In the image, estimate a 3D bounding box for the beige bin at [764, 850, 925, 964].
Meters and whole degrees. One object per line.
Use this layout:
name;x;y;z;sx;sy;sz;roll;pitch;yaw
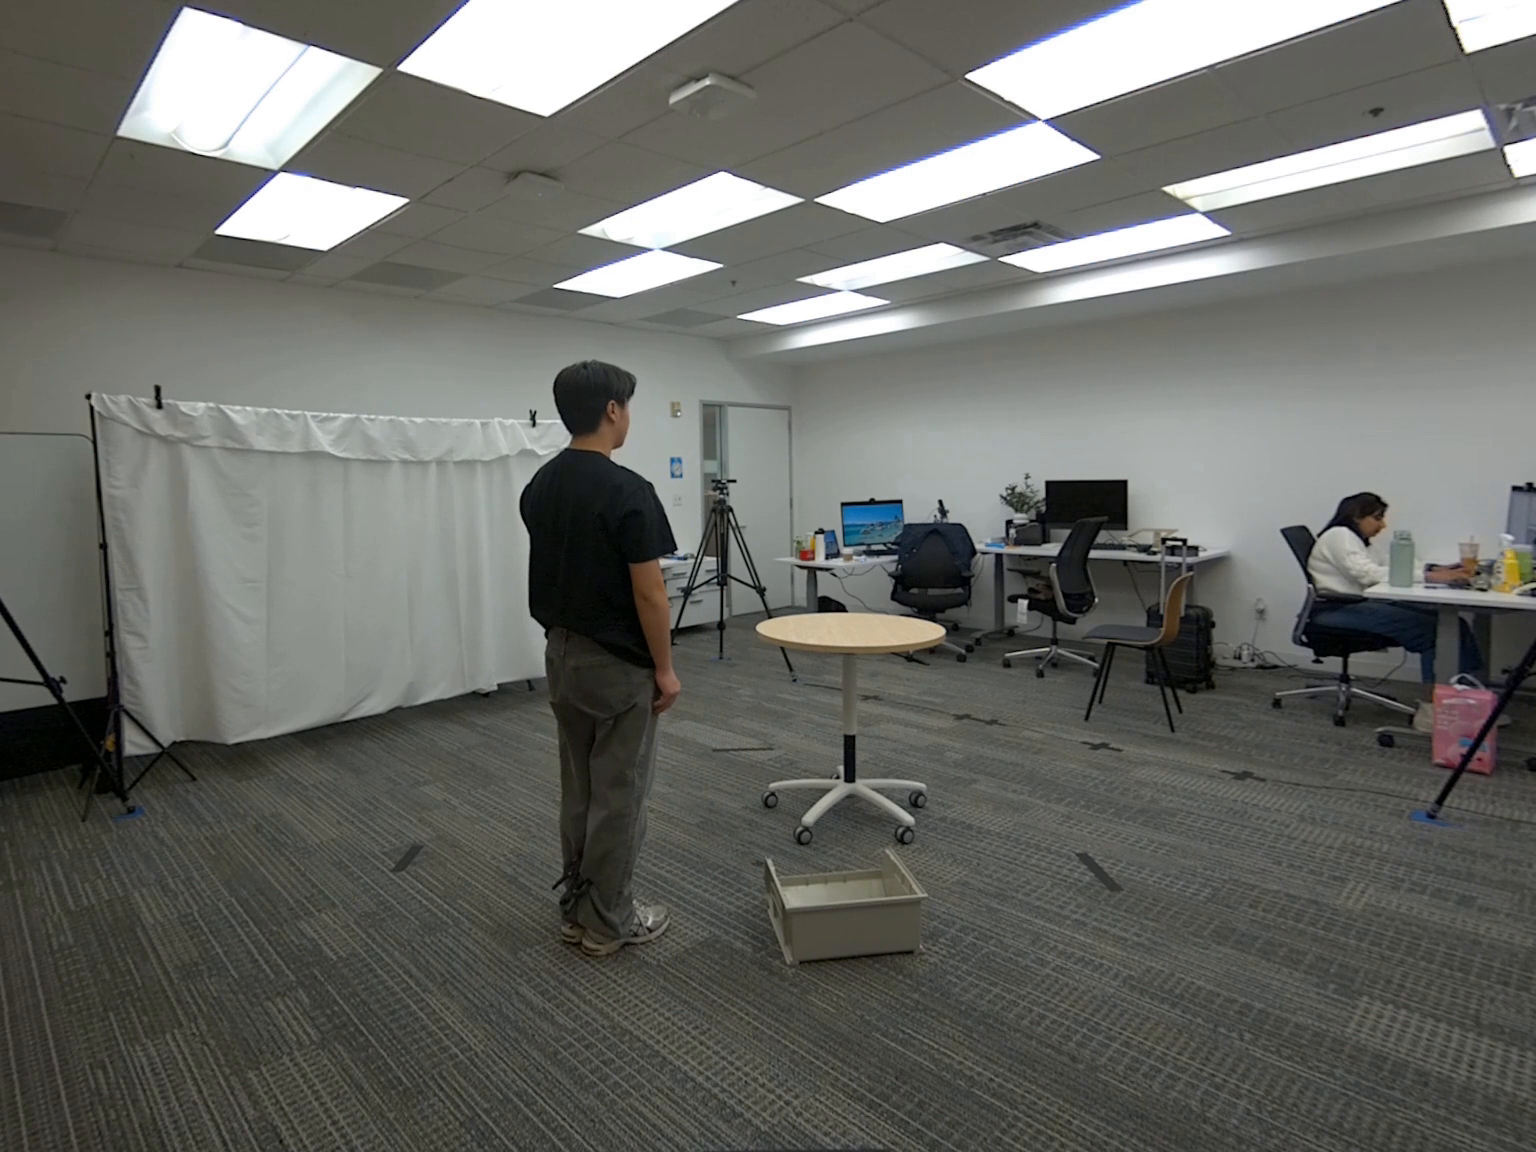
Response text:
beige bin;0.231;1.008;2.652;0.418;0.188;0.383;-1;7;-10
